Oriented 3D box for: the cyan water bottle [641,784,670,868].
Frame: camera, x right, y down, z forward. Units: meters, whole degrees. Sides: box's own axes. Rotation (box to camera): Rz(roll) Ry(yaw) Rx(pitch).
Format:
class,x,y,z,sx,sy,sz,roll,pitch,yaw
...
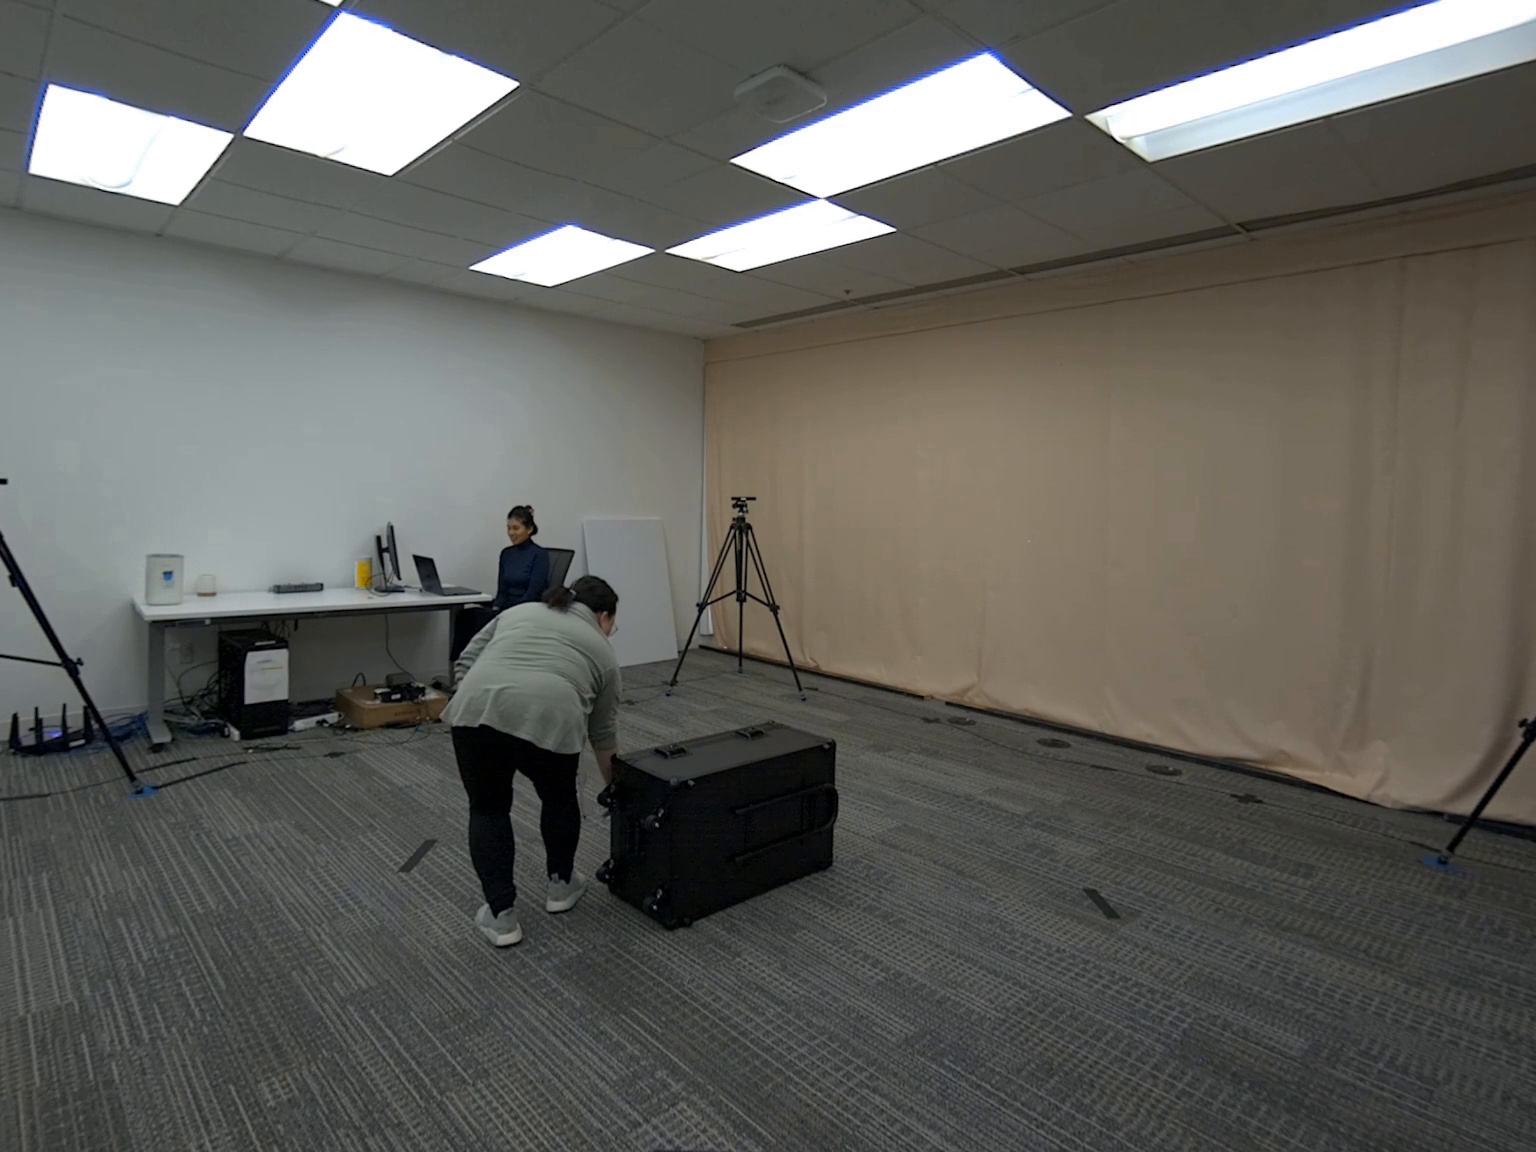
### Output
class,x,y,z,sx,sy,sz,roll,pitch,yaw
cyan water bottle,-0.429,0.947,3.216,0.092,0.283,0.092,-1,3,-1
